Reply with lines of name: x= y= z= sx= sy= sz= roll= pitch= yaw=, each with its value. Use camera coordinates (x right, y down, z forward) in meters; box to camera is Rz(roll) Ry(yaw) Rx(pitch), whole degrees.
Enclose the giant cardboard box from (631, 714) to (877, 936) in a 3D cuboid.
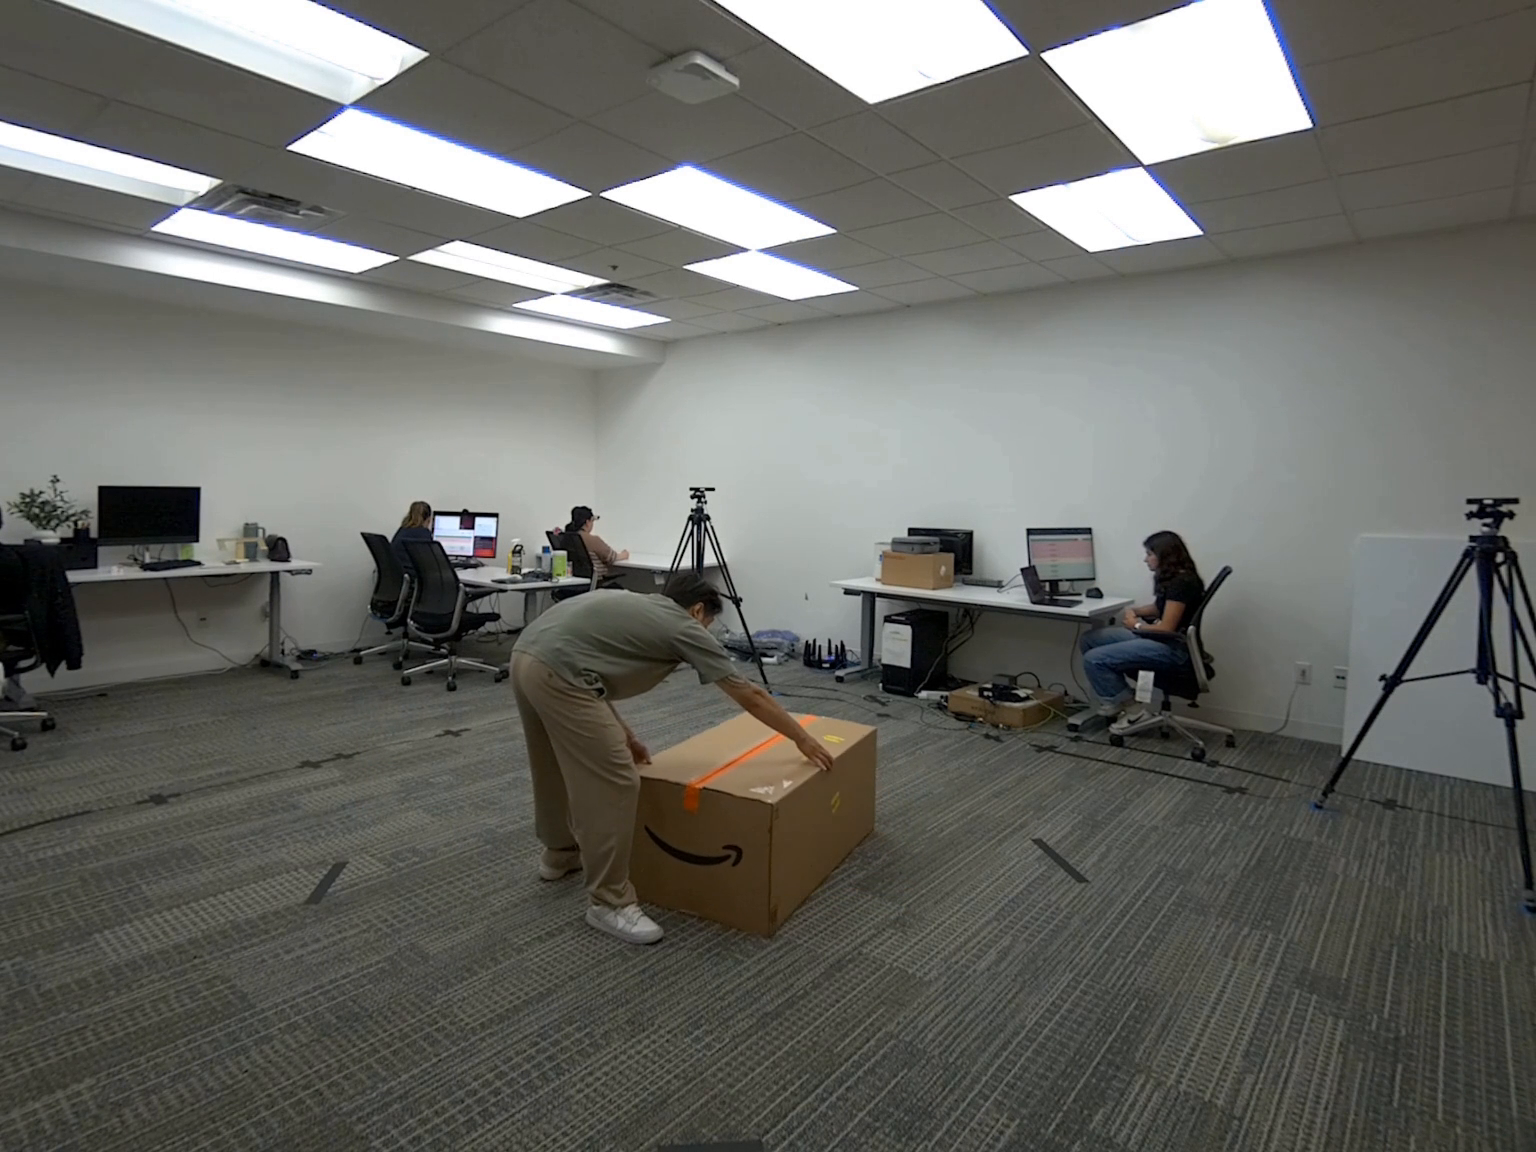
giant cardboard box: x=-0.034 y=0.847 z=3.196 sx=0.593 sy=0.425 sz=1.003 roll=2 pitch=5 yaw=26
